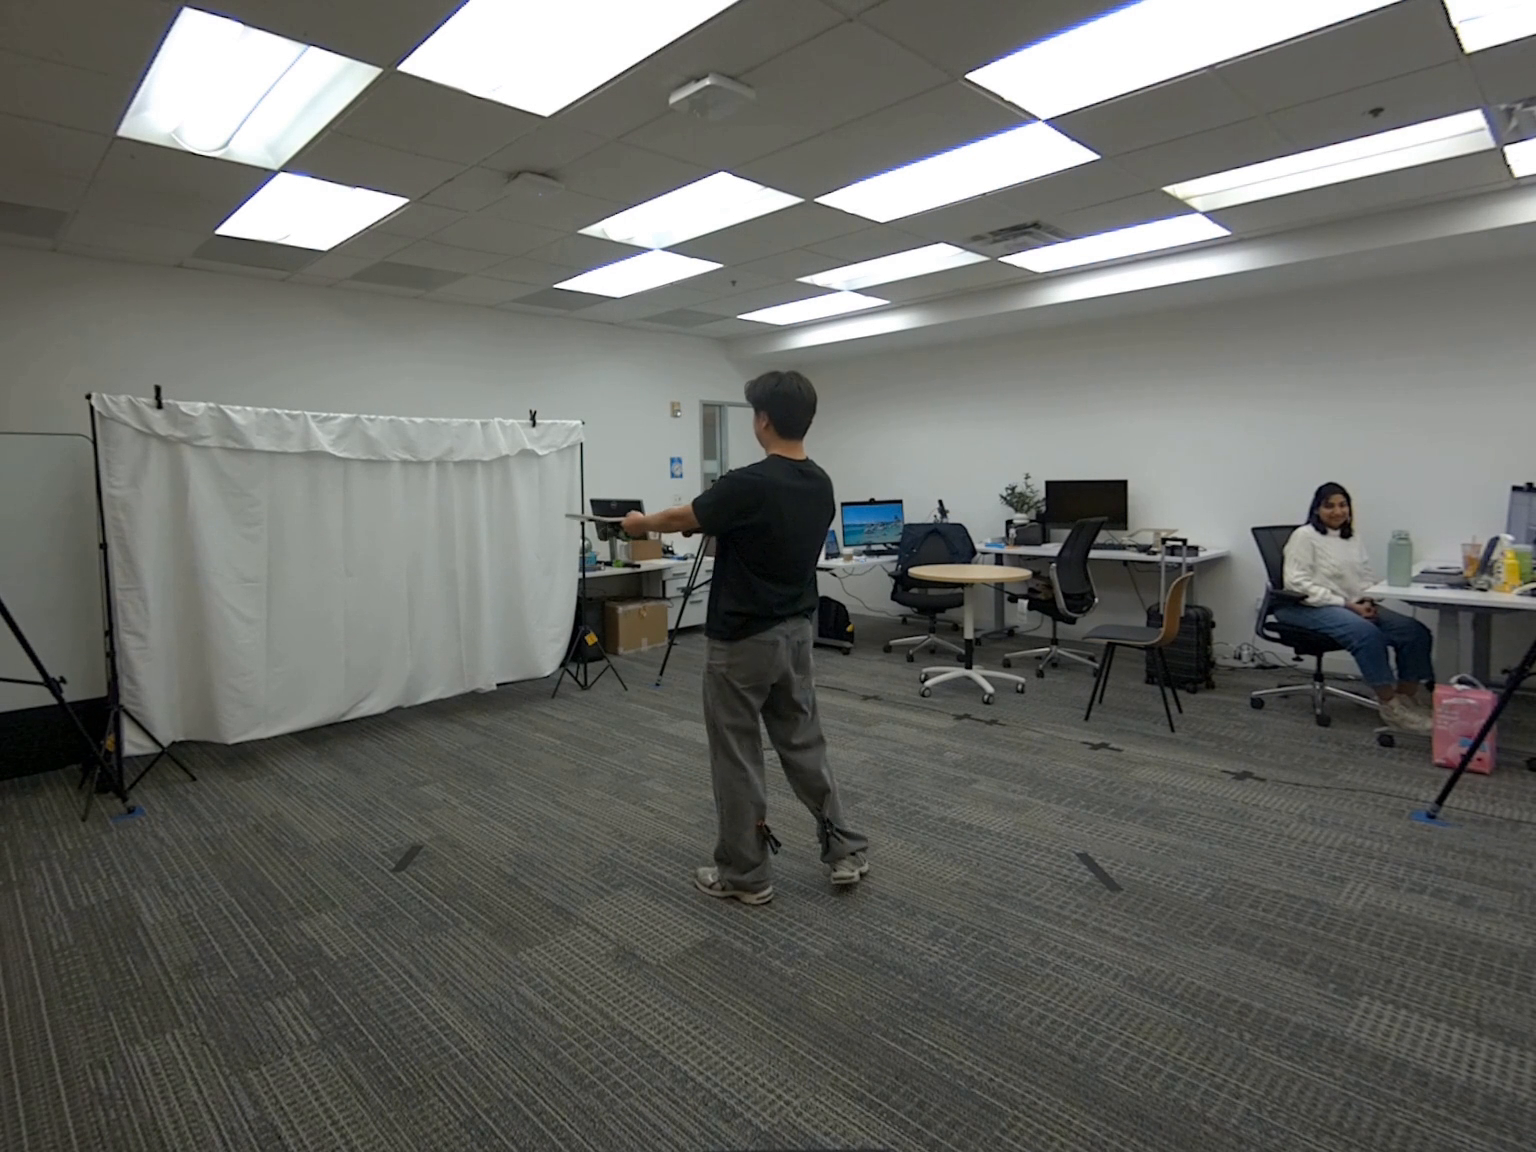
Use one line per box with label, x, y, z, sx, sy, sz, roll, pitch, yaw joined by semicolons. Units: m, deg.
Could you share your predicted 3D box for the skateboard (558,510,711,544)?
skateboard;-0.422;-0.198;3.343;0.764;0.110;0.199;-4;4;-41
